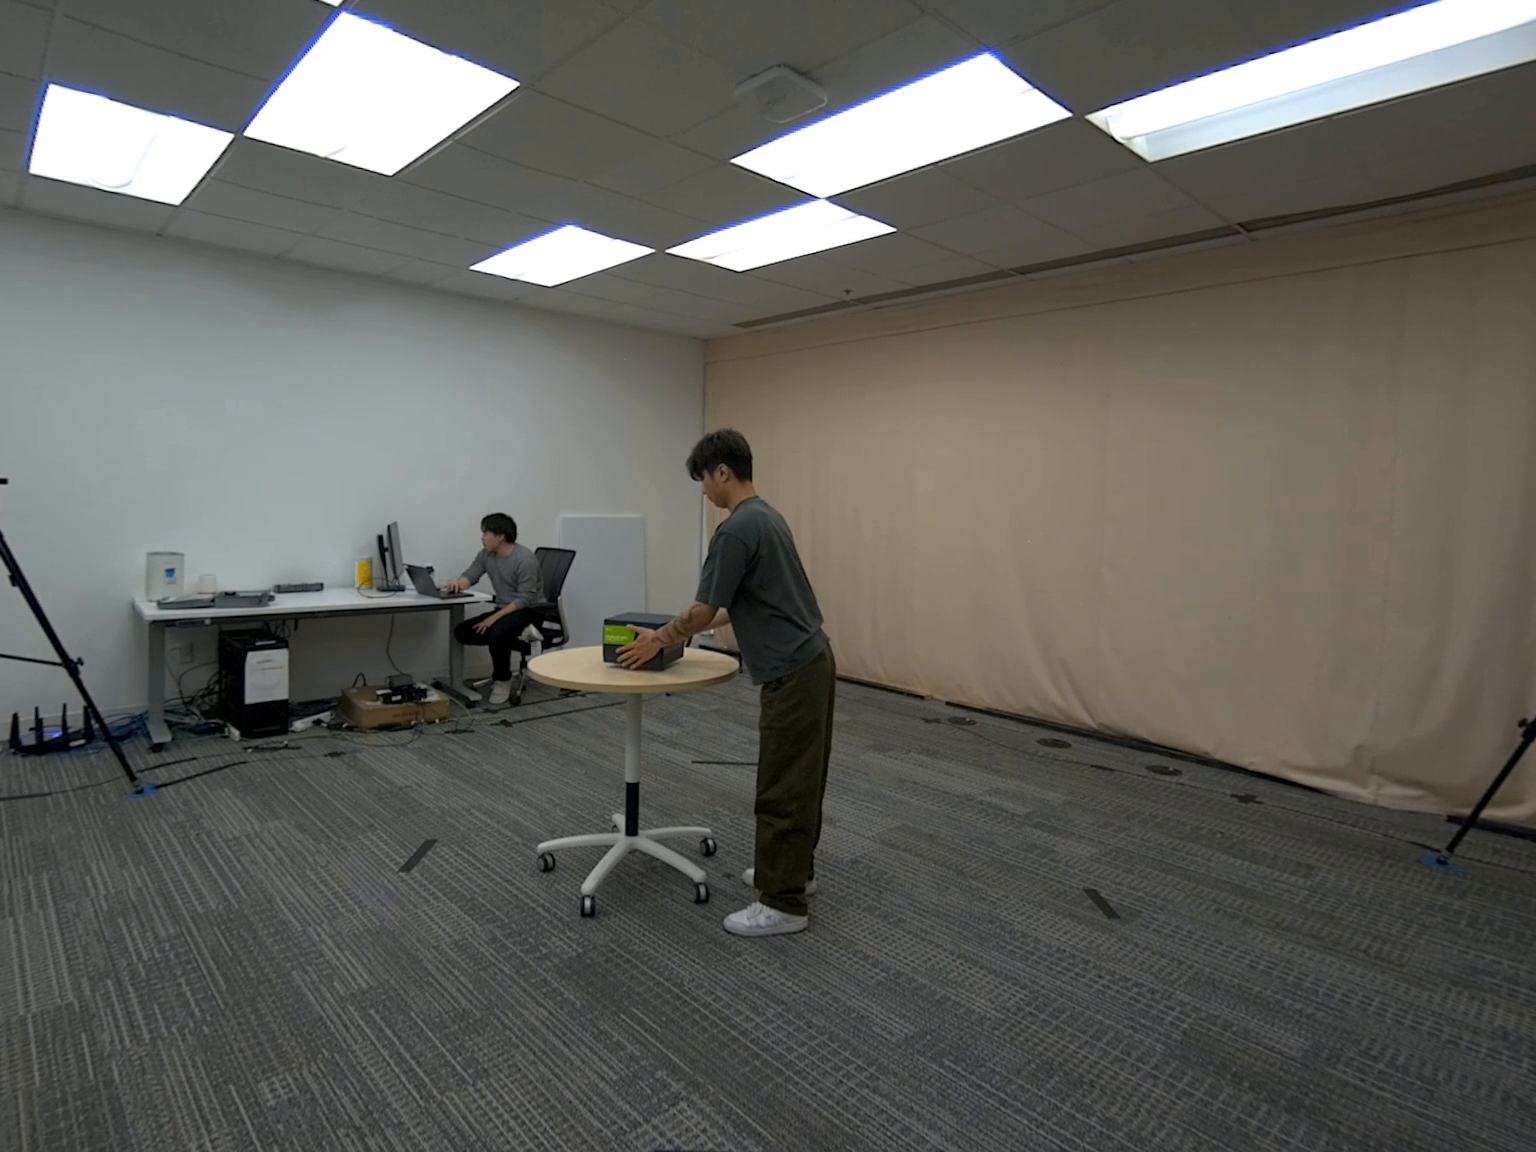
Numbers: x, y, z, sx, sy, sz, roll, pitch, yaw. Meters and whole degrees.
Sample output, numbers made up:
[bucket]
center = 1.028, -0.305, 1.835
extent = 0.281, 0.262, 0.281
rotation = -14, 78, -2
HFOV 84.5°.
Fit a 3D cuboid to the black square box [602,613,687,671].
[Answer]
[black square box]
center = -0.449, 0.225, 3.042
extent = 0.231, 0.155, 0.215
rotation = 3, 5, 16
